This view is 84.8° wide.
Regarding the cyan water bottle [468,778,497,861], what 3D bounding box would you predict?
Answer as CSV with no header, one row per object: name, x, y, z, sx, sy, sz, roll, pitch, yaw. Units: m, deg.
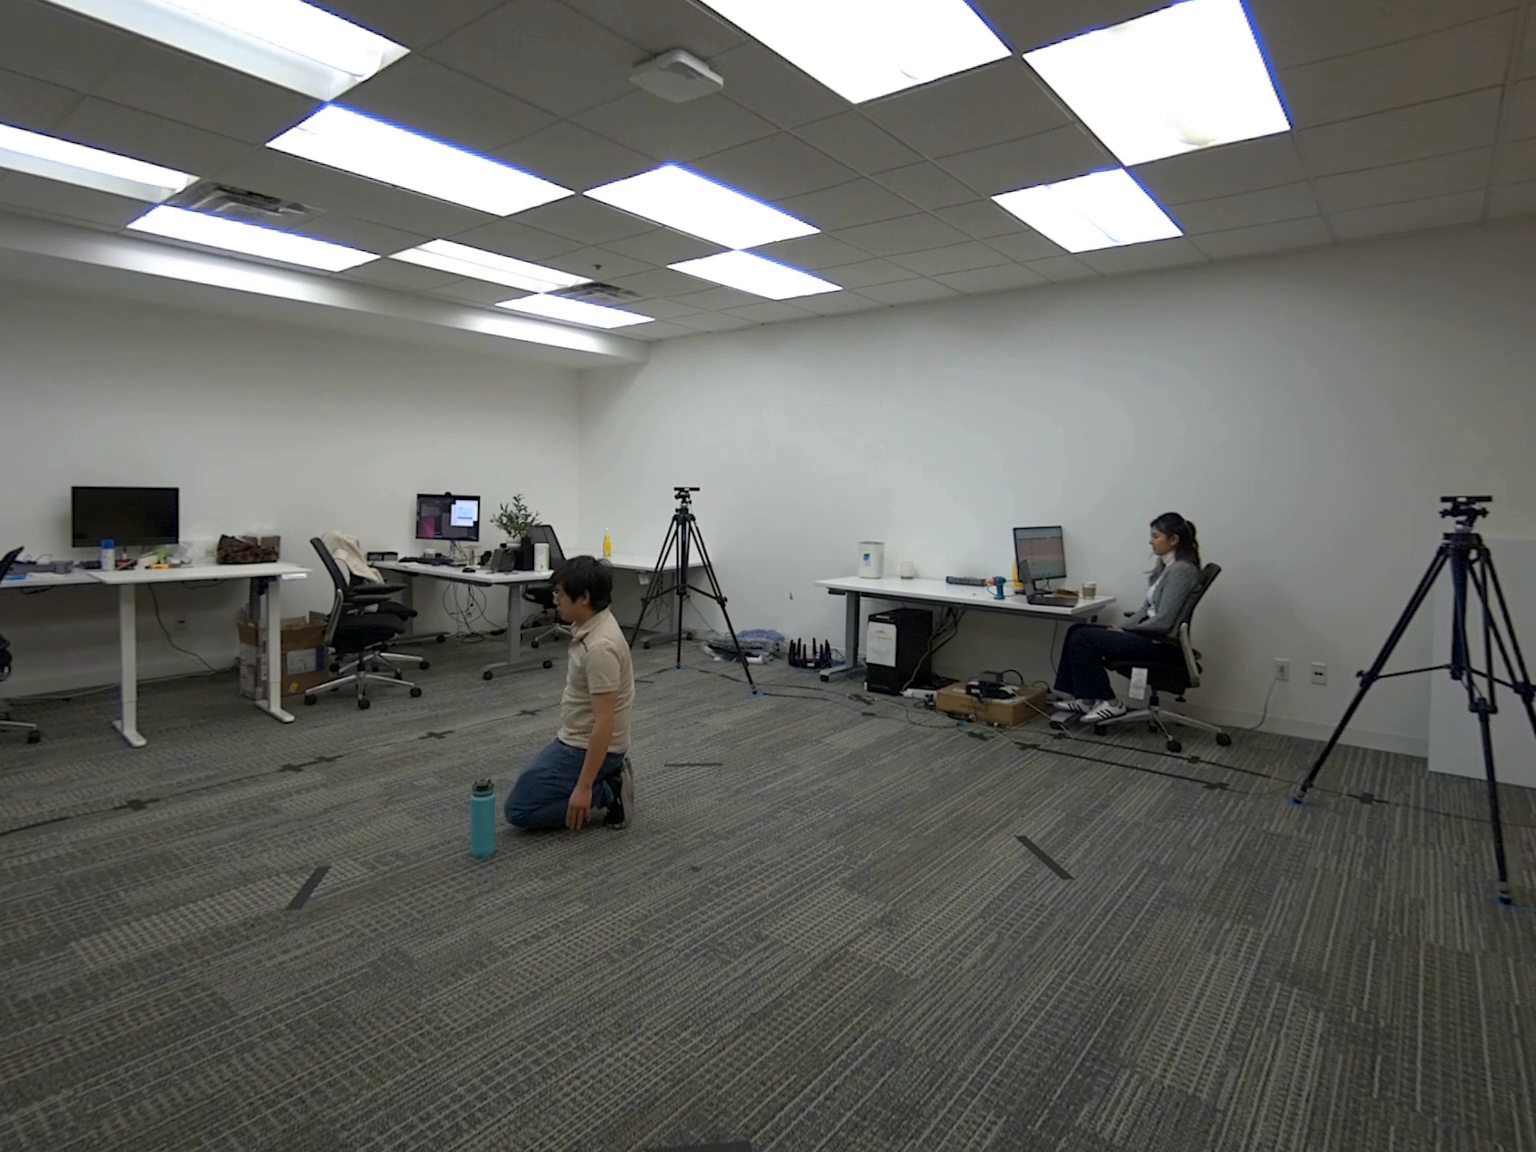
cyan water bottle,-1.093,0.906,3.208,0.092,0.283,0.092,-1,1,-2
